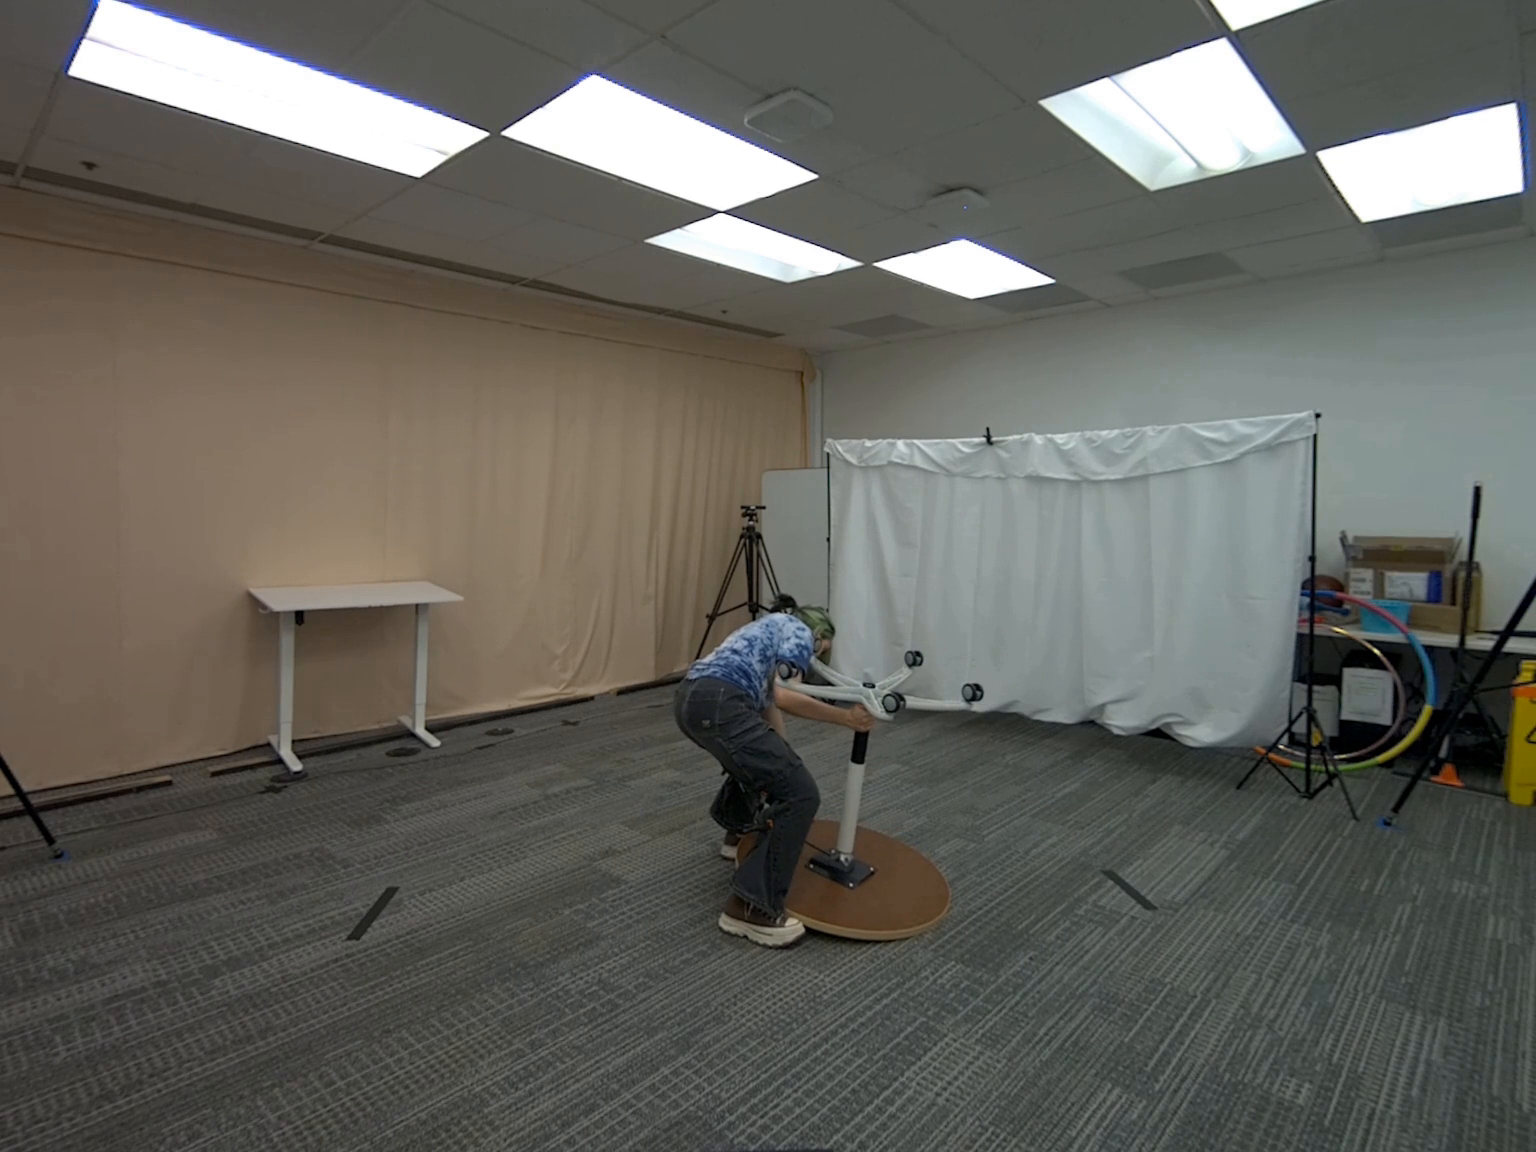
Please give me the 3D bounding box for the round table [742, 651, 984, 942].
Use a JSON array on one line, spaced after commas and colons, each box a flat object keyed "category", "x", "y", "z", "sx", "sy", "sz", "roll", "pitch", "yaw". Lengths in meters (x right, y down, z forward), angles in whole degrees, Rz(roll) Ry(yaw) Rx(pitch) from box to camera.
[{"category": "round table", "x": 0.324, "y": 0.704, "z": 2.976, "sx": 0.762, "sy": 0.791, "sz": 0.769, "roll": 7, "pitch": 8, "yaw": -3}]
